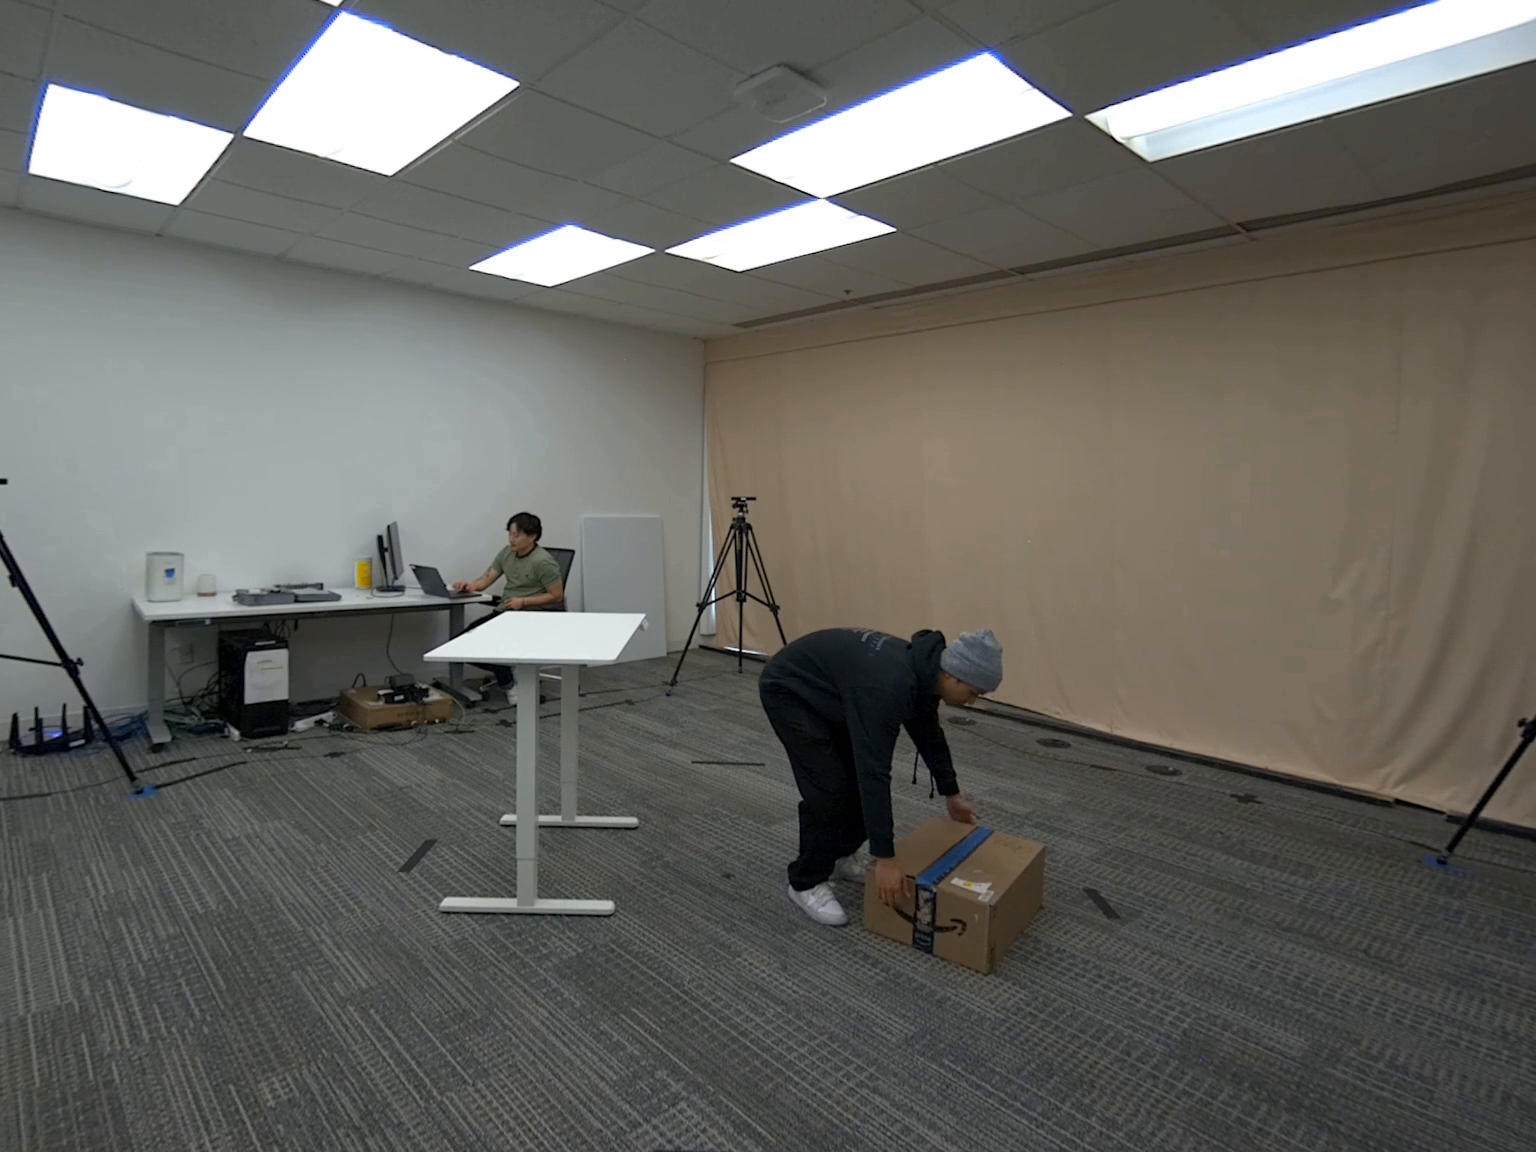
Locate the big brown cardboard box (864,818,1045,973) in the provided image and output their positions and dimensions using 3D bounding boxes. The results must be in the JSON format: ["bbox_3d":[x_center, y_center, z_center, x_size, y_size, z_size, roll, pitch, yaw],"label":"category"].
[{"bbox_3d":[0.625,1.033,2.830,0.427,0.232,0.576,5,6,34],"label":"big brown cardboard box"}]
